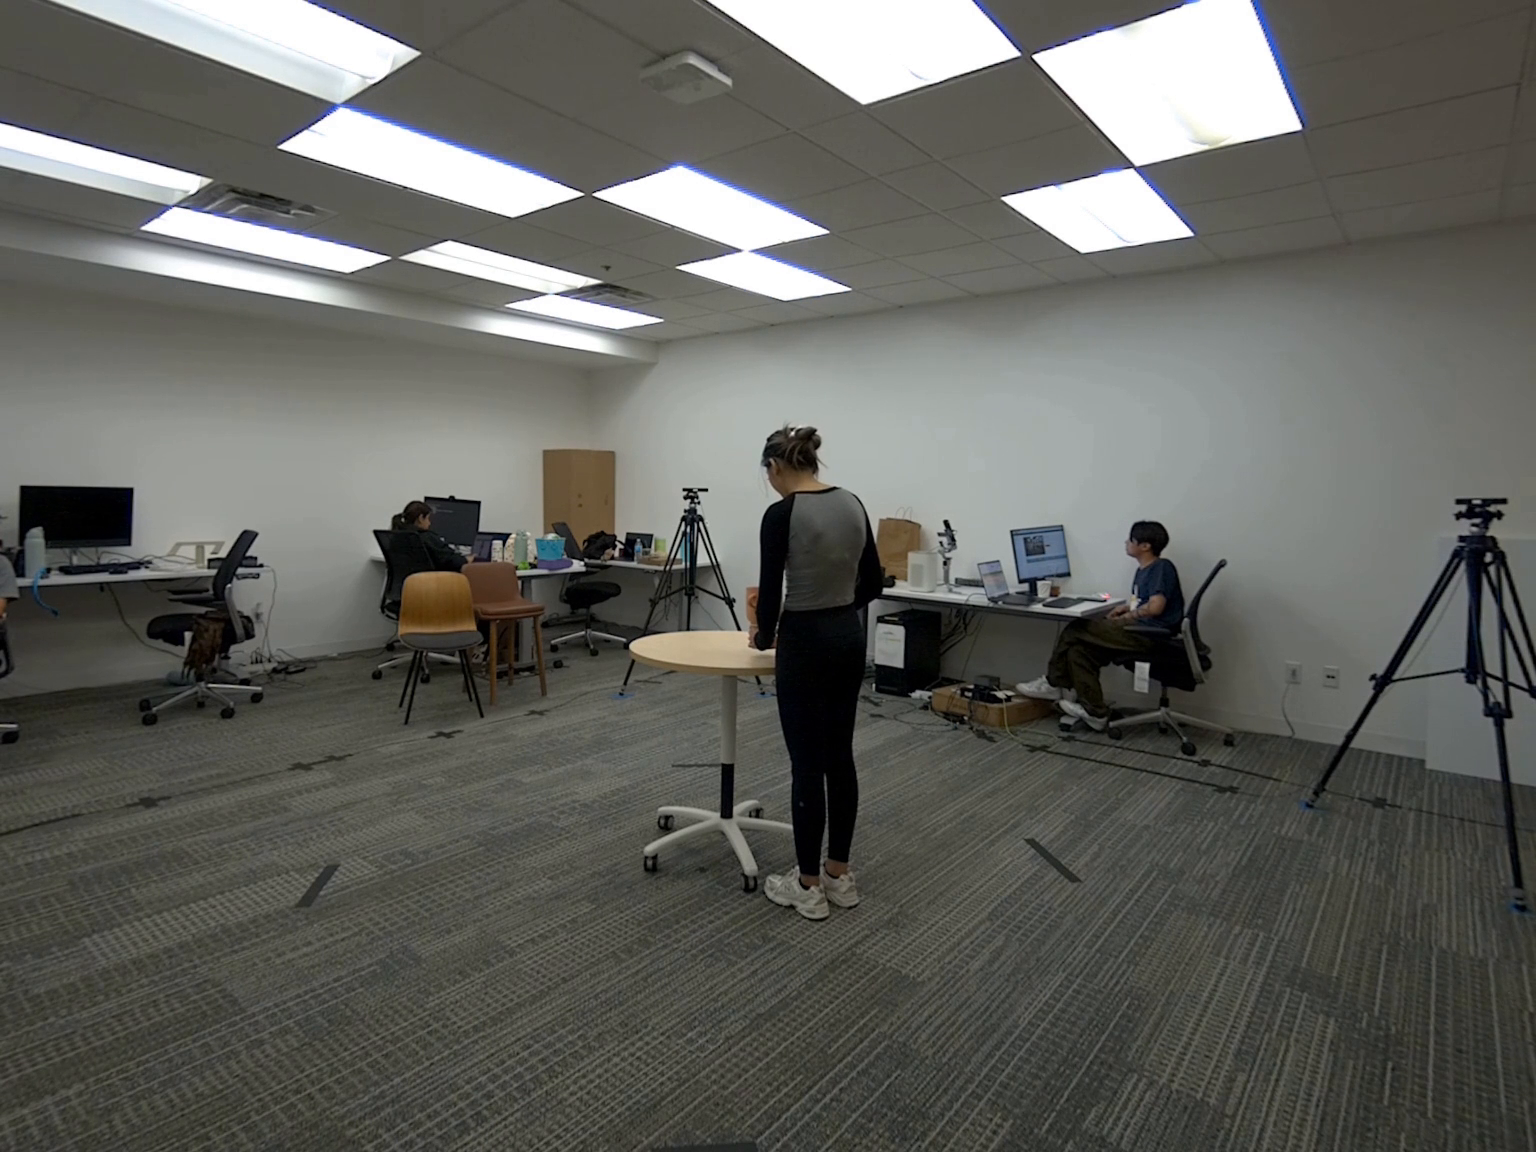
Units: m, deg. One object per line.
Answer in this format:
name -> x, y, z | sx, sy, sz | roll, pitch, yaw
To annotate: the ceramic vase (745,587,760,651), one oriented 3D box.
ceramic vase -> -0.028, 0.145, 3.055 | 0.156, 0.220, 0.137 | 0, -3, -19
